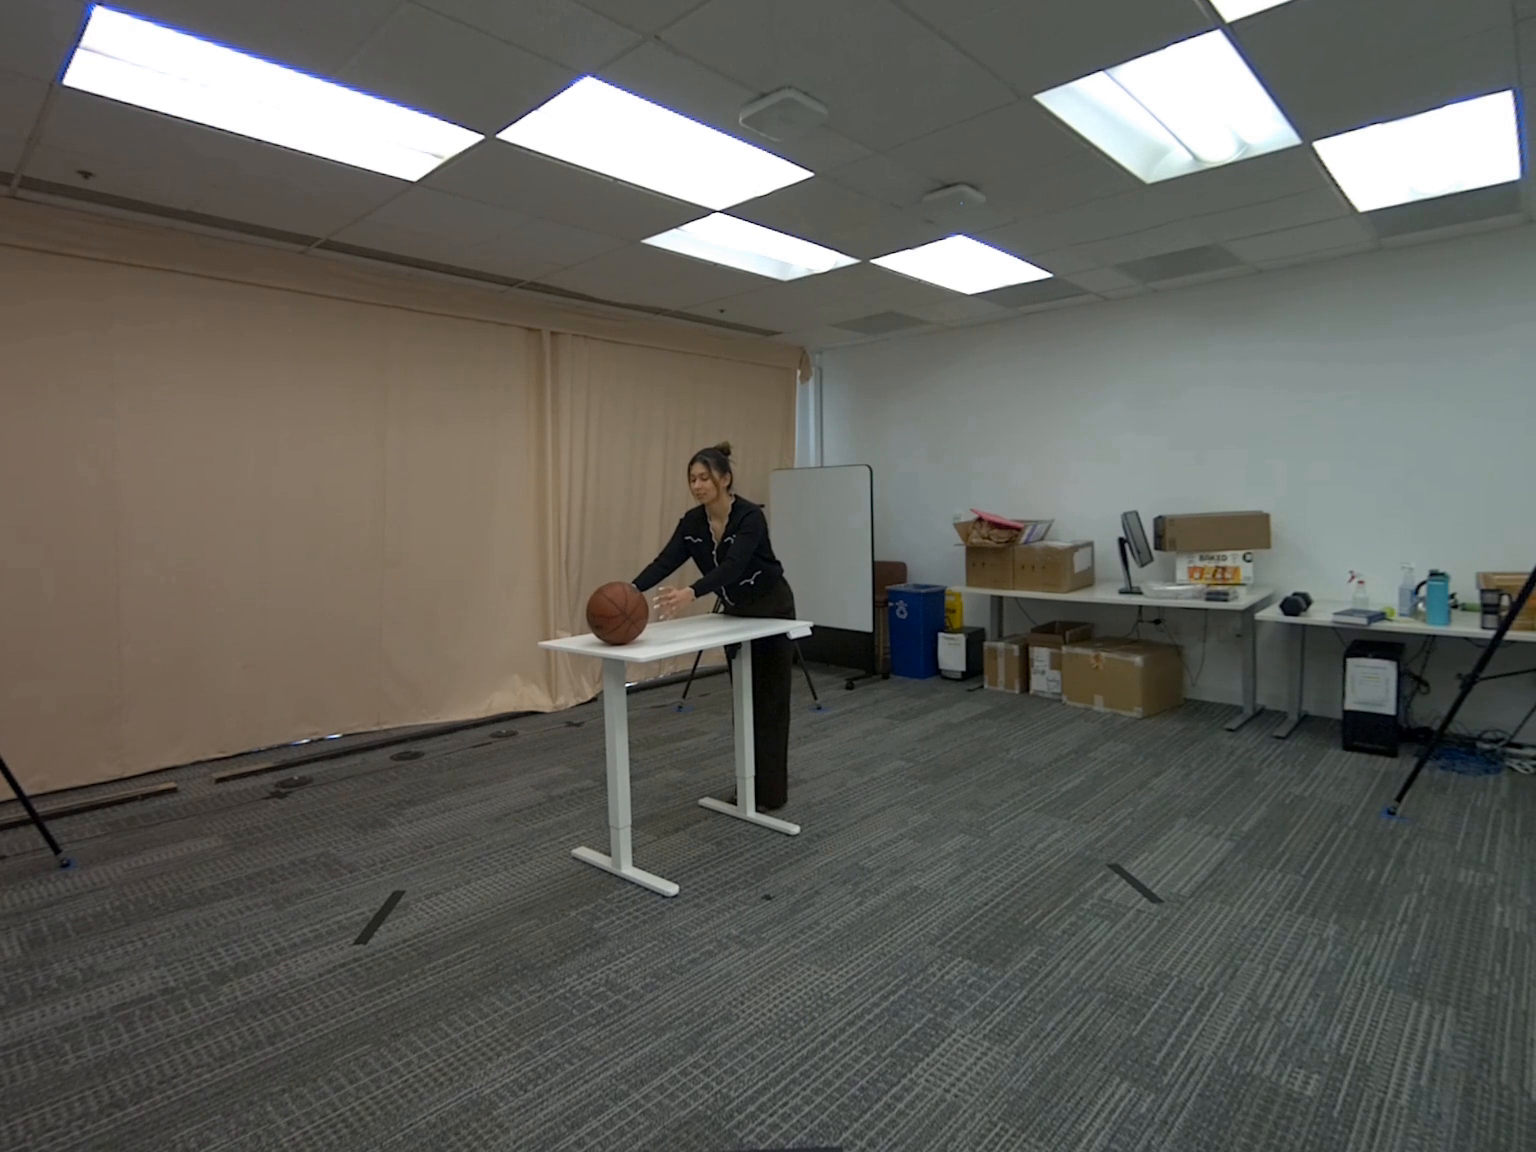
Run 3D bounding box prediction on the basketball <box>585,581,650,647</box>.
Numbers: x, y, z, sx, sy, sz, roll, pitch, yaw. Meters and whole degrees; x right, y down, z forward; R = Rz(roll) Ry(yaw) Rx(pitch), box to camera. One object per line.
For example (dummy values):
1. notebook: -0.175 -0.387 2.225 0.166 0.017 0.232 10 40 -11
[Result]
1. basketball: -0.562 0.137 3.168 0.236 0.235 0.237 -1 4 -2
